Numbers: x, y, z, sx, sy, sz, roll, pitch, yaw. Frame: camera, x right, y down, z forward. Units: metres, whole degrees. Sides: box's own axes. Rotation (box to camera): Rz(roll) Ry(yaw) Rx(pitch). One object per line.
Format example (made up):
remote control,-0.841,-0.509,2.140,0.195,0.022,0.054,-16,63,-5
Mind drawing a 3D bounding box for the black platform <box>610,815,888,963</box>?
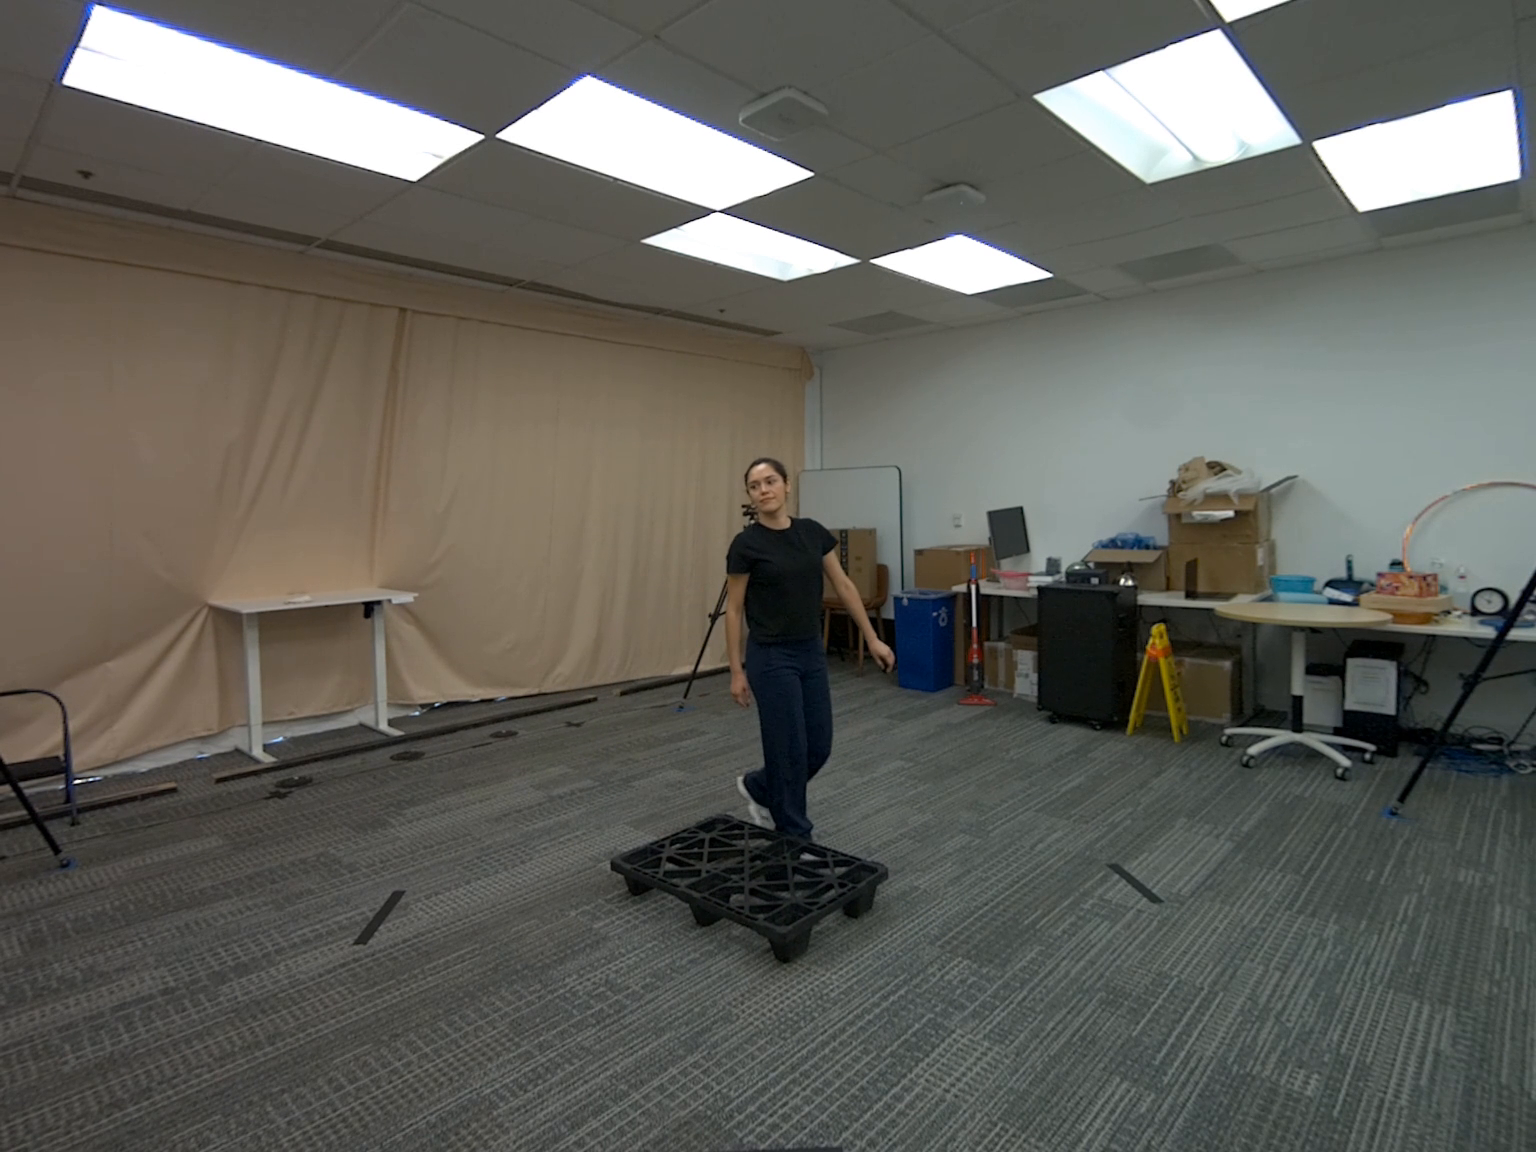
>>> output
black platform,-0.063,1.077,2.965,0.832,0.143,0.587,4,6,41
